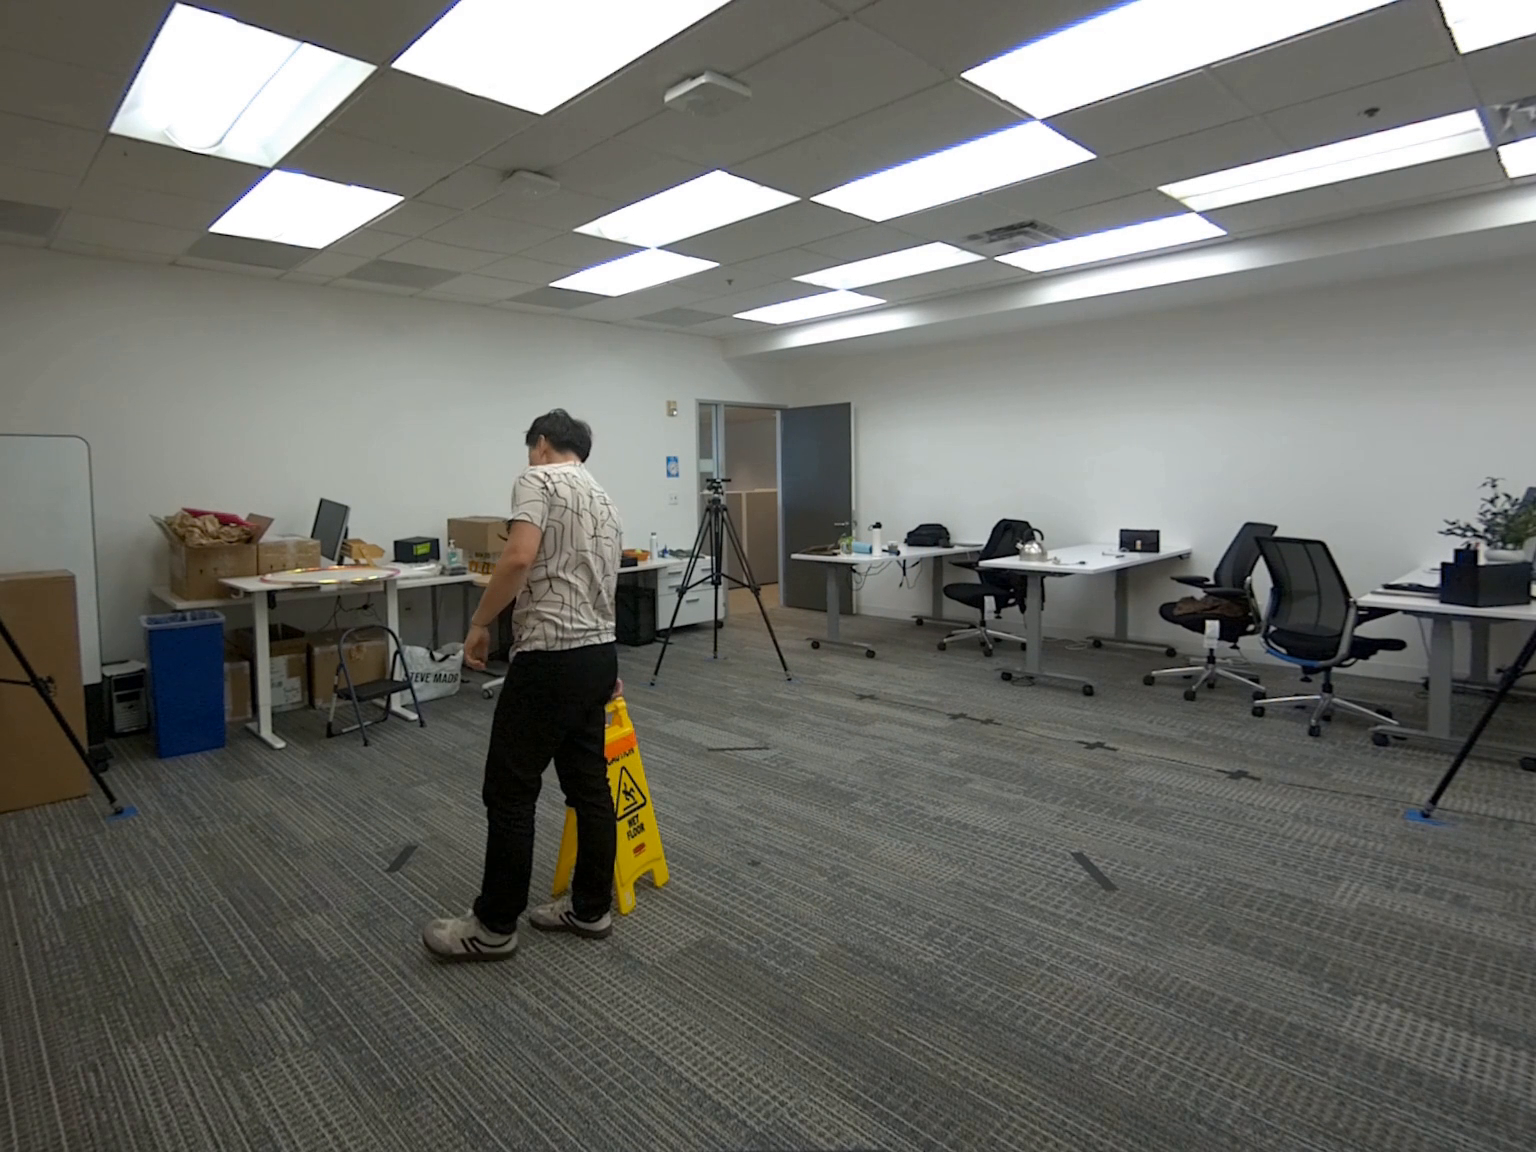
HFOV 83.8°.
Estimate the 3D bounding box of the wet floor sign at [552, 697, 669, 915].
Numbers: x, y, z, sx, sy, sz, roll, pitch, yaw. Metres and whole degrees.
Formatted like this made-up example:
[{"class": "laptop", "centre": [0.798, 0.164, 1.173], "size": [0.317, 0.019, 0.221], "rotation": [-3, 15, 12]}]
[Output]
[{"class": "wet floor sign", "centre": [-0.538, 0.752, 2.915], "size": [0.297, 0.643, 0.276], "rotation": [2, 6, 27]}]
